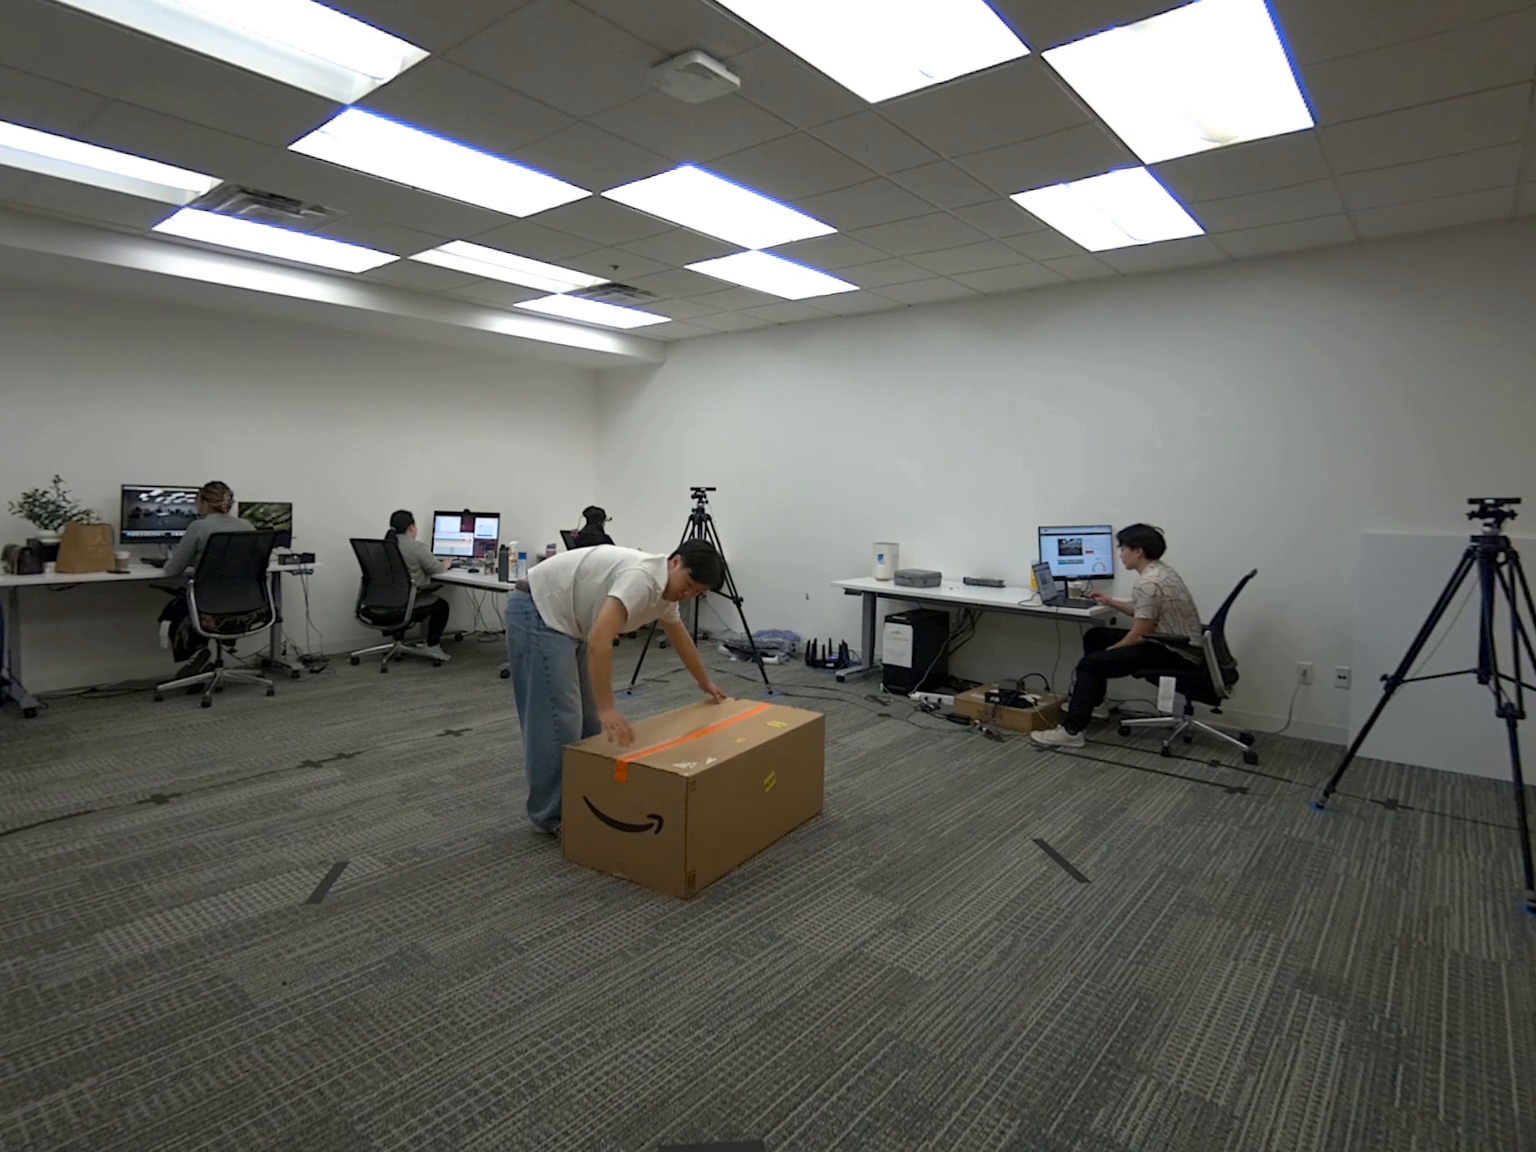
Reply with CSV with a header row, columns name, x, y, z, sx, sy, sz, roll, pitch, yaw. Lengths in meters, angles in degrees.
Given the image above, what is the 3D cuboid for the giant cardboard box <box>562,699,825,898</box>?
name,x,y,z,sx,sy,sz,roll,pitch,yaw
giant cardboard box,-0.272,0.819,3.423,0.595,0.425,0.998,4,6,32
